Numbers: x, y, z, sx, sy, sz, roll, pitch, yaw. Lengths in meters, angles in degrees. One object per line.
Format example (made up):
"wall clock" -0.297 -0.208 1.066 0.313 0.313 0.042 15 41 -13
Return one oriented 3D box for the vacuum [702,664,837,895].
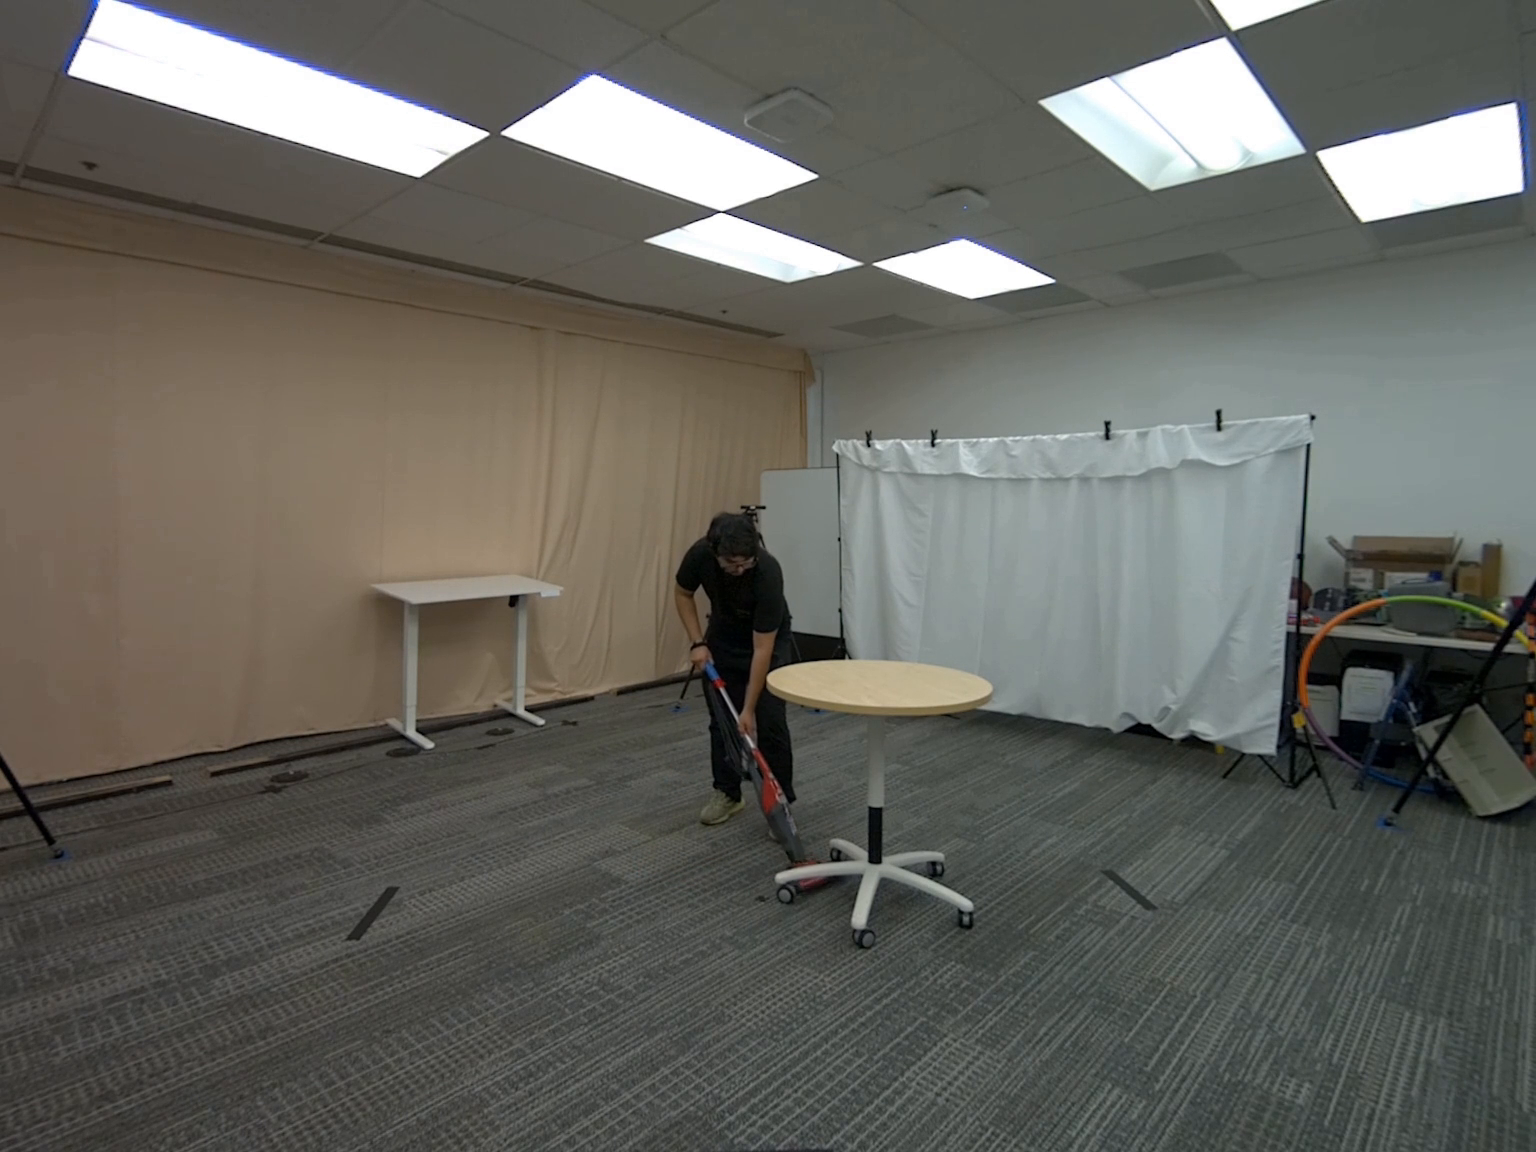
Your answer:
"vacuum" -0.071 0.713 3.404 0.246 0.143 1.081 -7 50 -34
